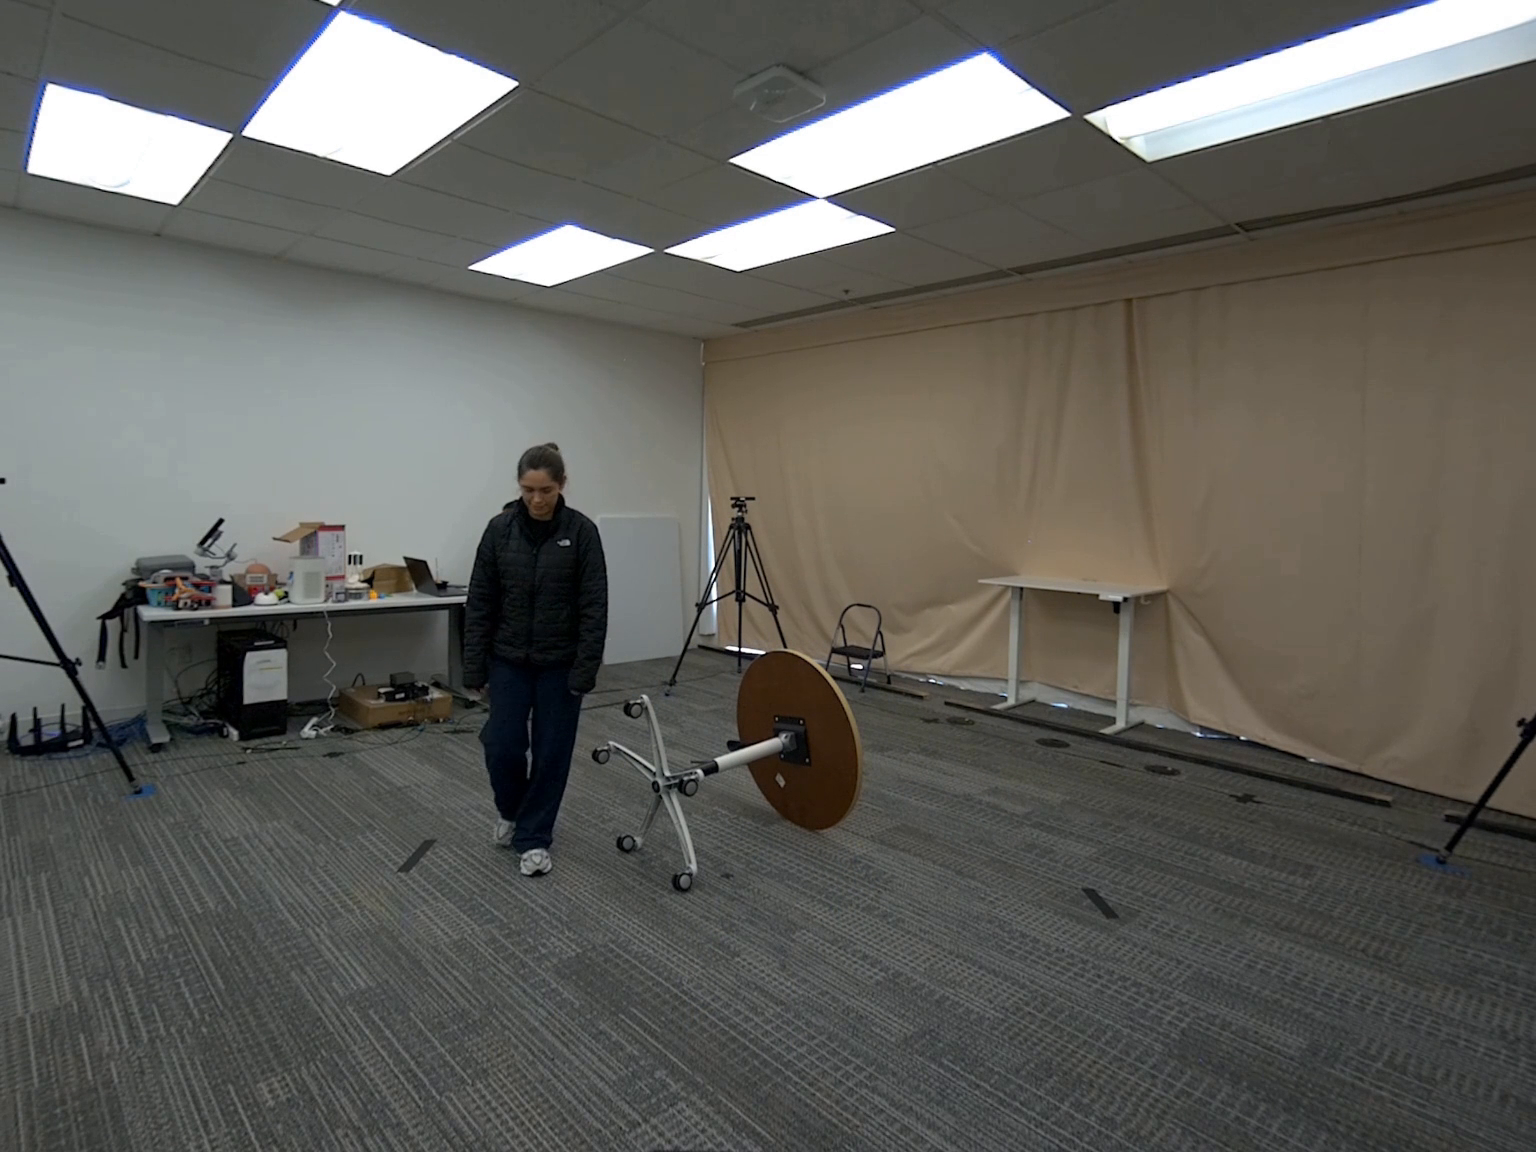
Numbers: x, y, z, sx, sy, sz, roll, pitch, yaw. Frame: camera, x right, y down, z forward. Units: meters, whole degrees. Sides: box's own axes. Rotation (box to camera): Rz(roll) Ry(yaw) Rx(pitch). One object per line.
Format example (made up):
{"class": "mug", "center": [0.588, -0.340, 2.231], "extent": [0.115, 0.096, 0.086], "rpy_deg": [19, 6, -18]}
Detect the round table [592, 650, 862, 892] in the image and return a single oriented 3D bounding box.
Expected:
{"class": "round table", "center": [-0.184, 0.747, 3.336], "extent": [0.771, 0.781, 0.805], "rpy_deg": [-9, 10, -39]}
